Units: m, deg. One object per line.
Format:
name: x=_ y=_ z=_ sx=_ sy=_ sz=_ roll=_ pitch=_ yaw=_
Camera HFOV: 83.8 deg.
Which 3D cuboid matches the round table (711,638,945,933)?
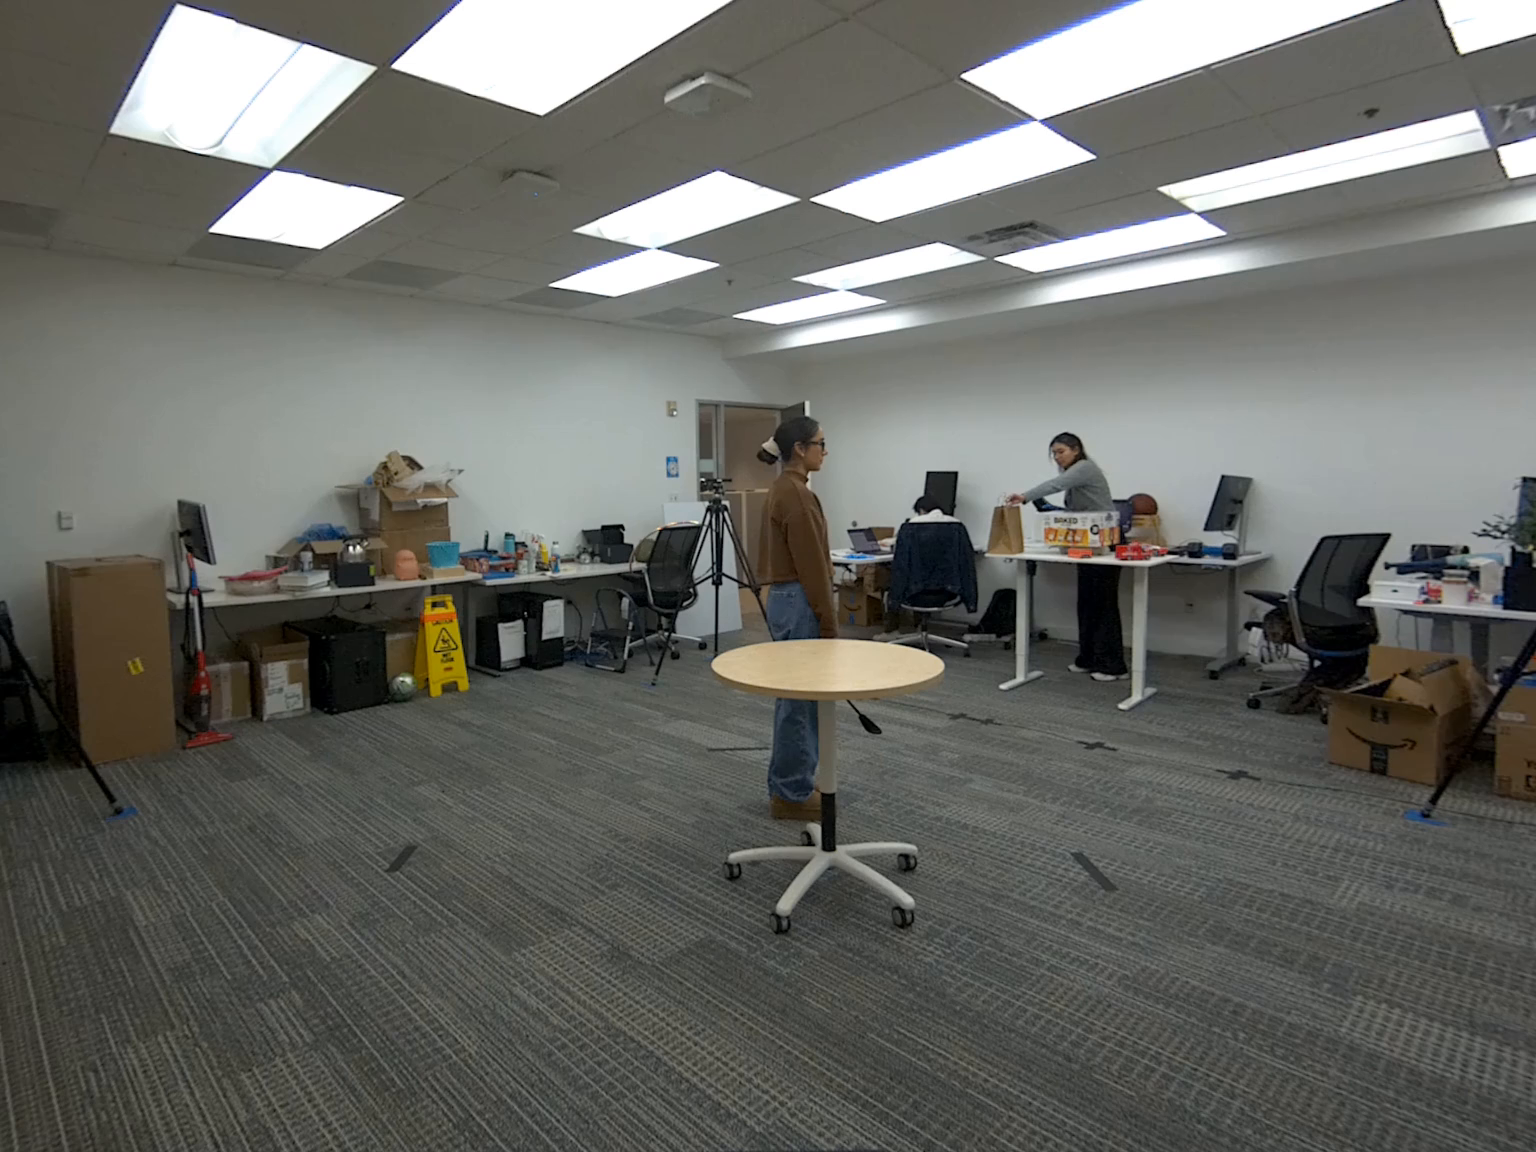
round table: x=0.207 y=0.679 z=2.875 sx=0.763 sy=0.791 sz=0.768 roll=-1 pitch=5 yaw=-2
